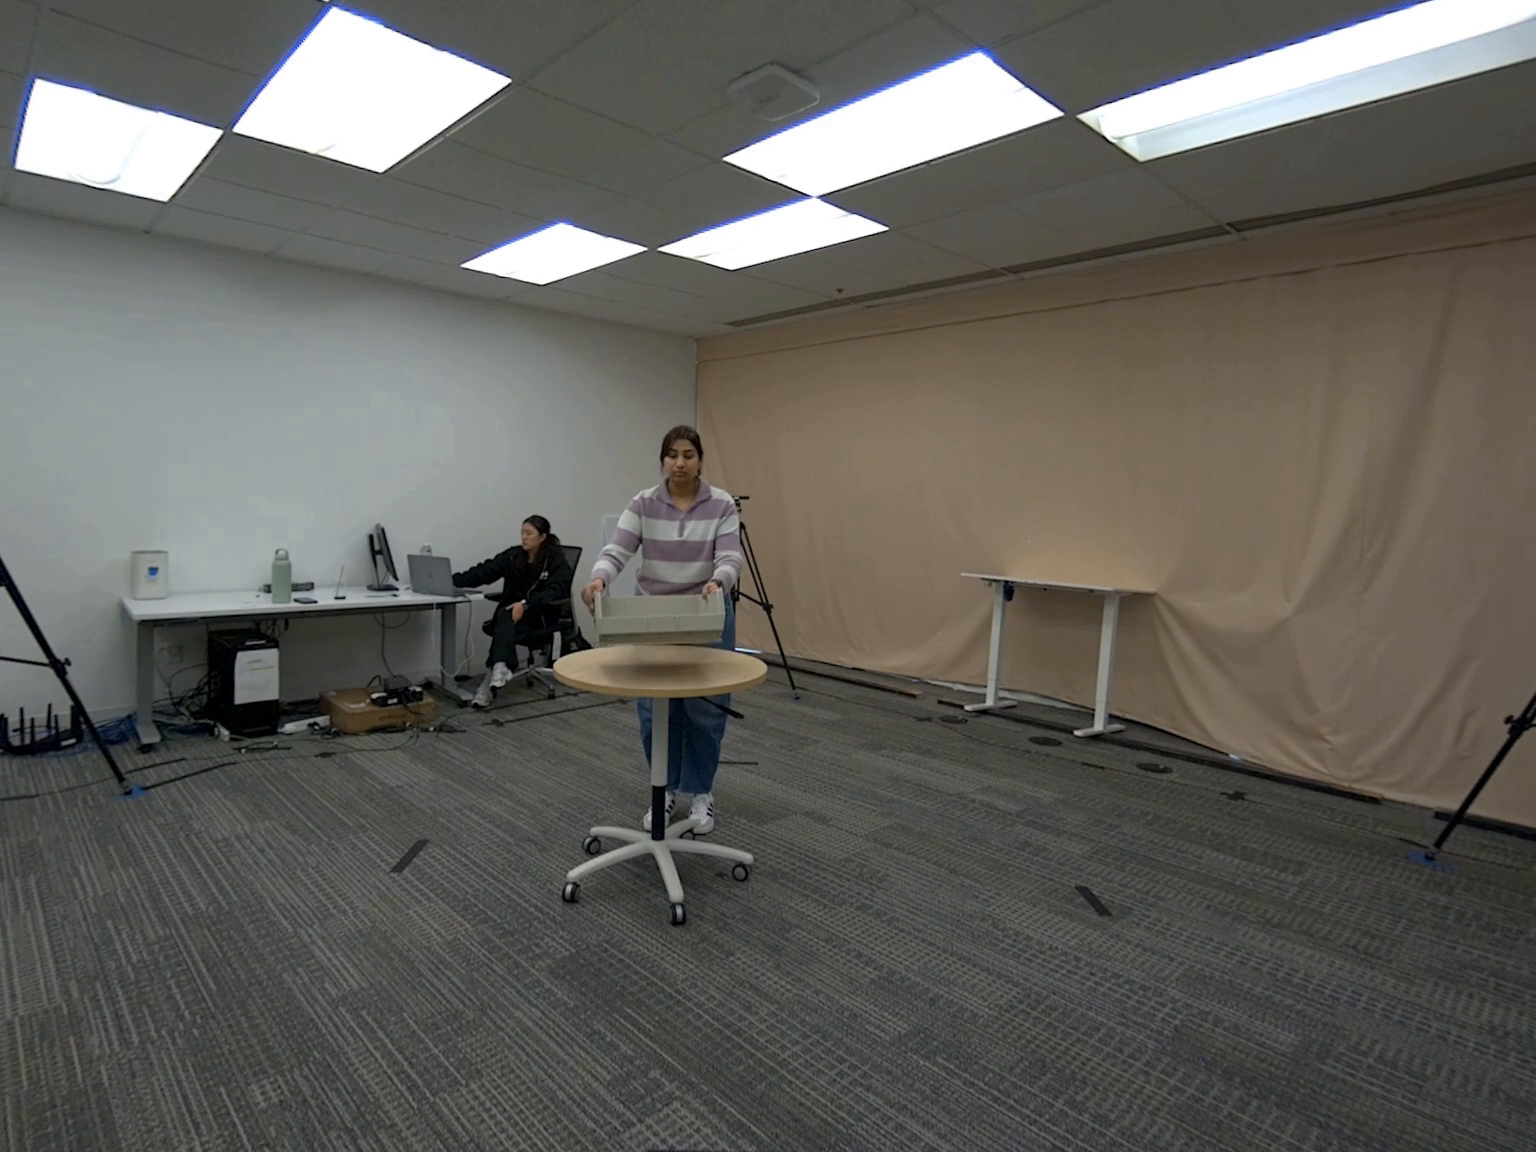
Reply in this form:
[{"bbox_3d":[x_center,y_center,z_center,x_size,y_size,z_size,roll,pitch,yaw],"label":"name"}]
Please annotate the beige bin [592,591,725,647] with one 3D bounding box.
[{"bbox_3d":[-0.390,0.144,2.877,0.418,0.190,0.379,-2,-6,-14],"label":"beige bin"}]
